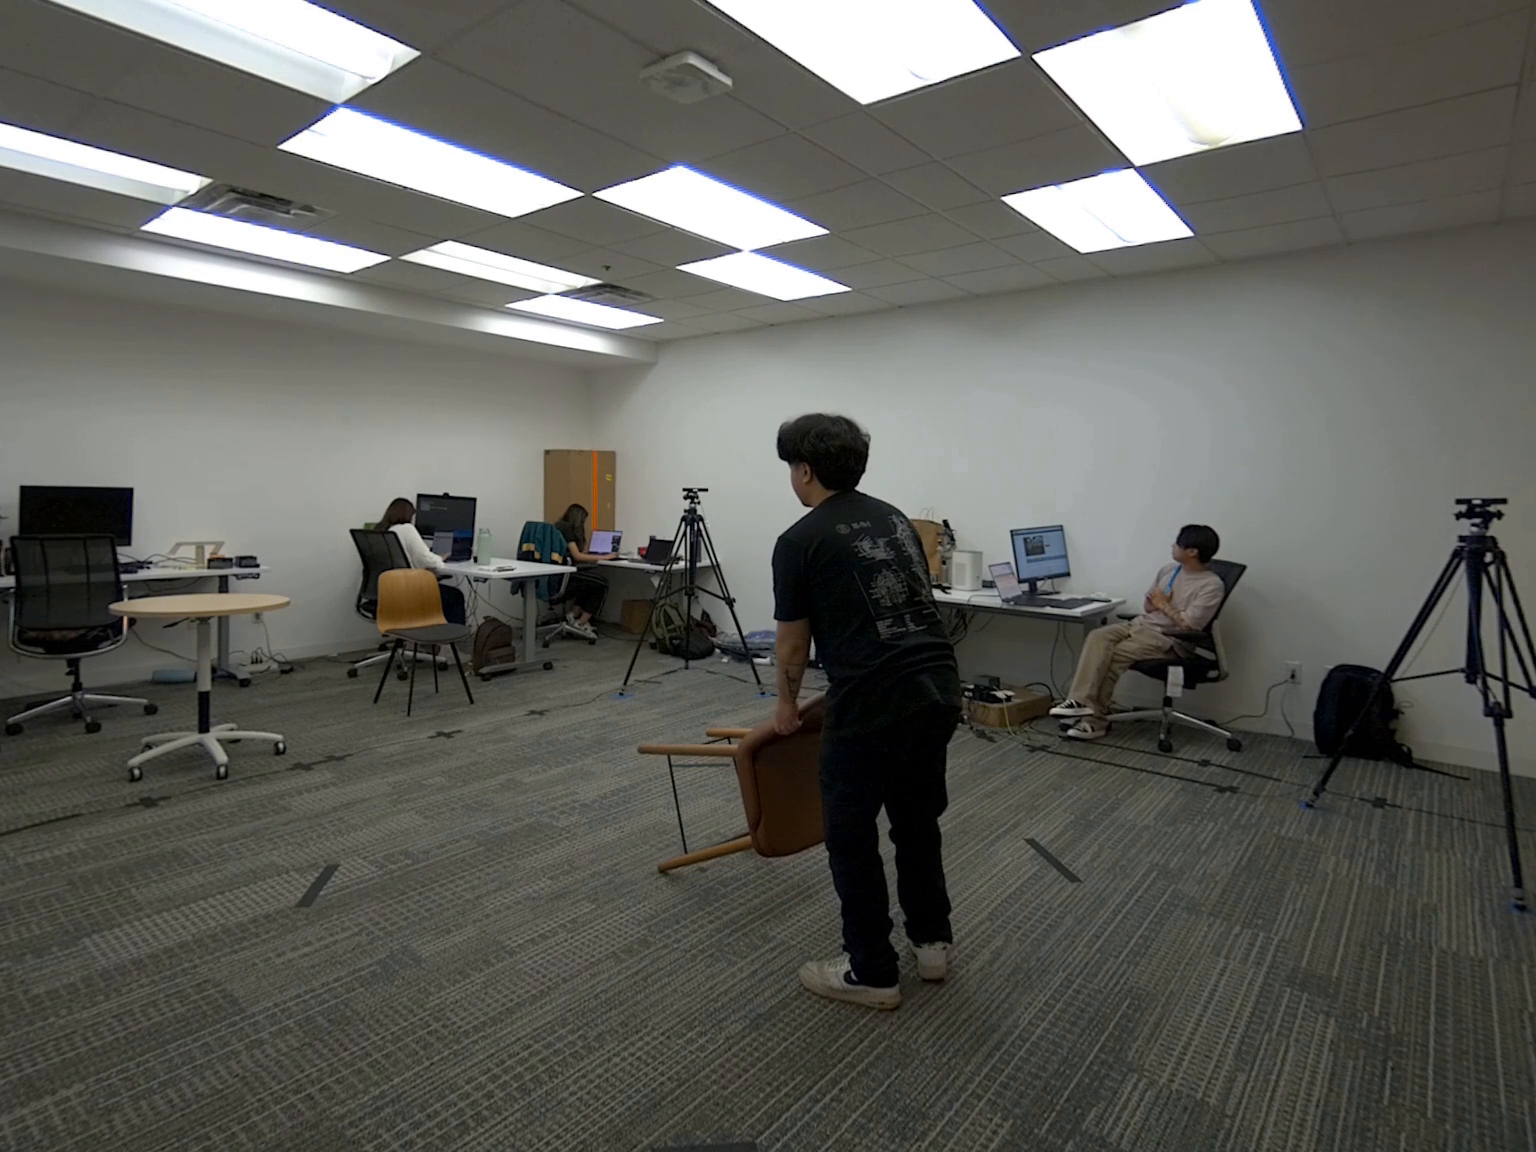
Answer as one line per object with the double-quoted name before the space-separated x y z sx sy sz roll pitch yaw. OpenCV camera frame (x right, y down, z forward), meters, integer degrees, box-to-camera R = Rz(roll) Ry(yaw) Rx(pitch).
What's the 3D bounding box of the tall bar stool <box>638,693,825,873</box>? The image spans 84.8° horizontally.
"tall bar stool" -0.028 0.714 2.957 0.442 0.475 0.904 -2 -17 -46
